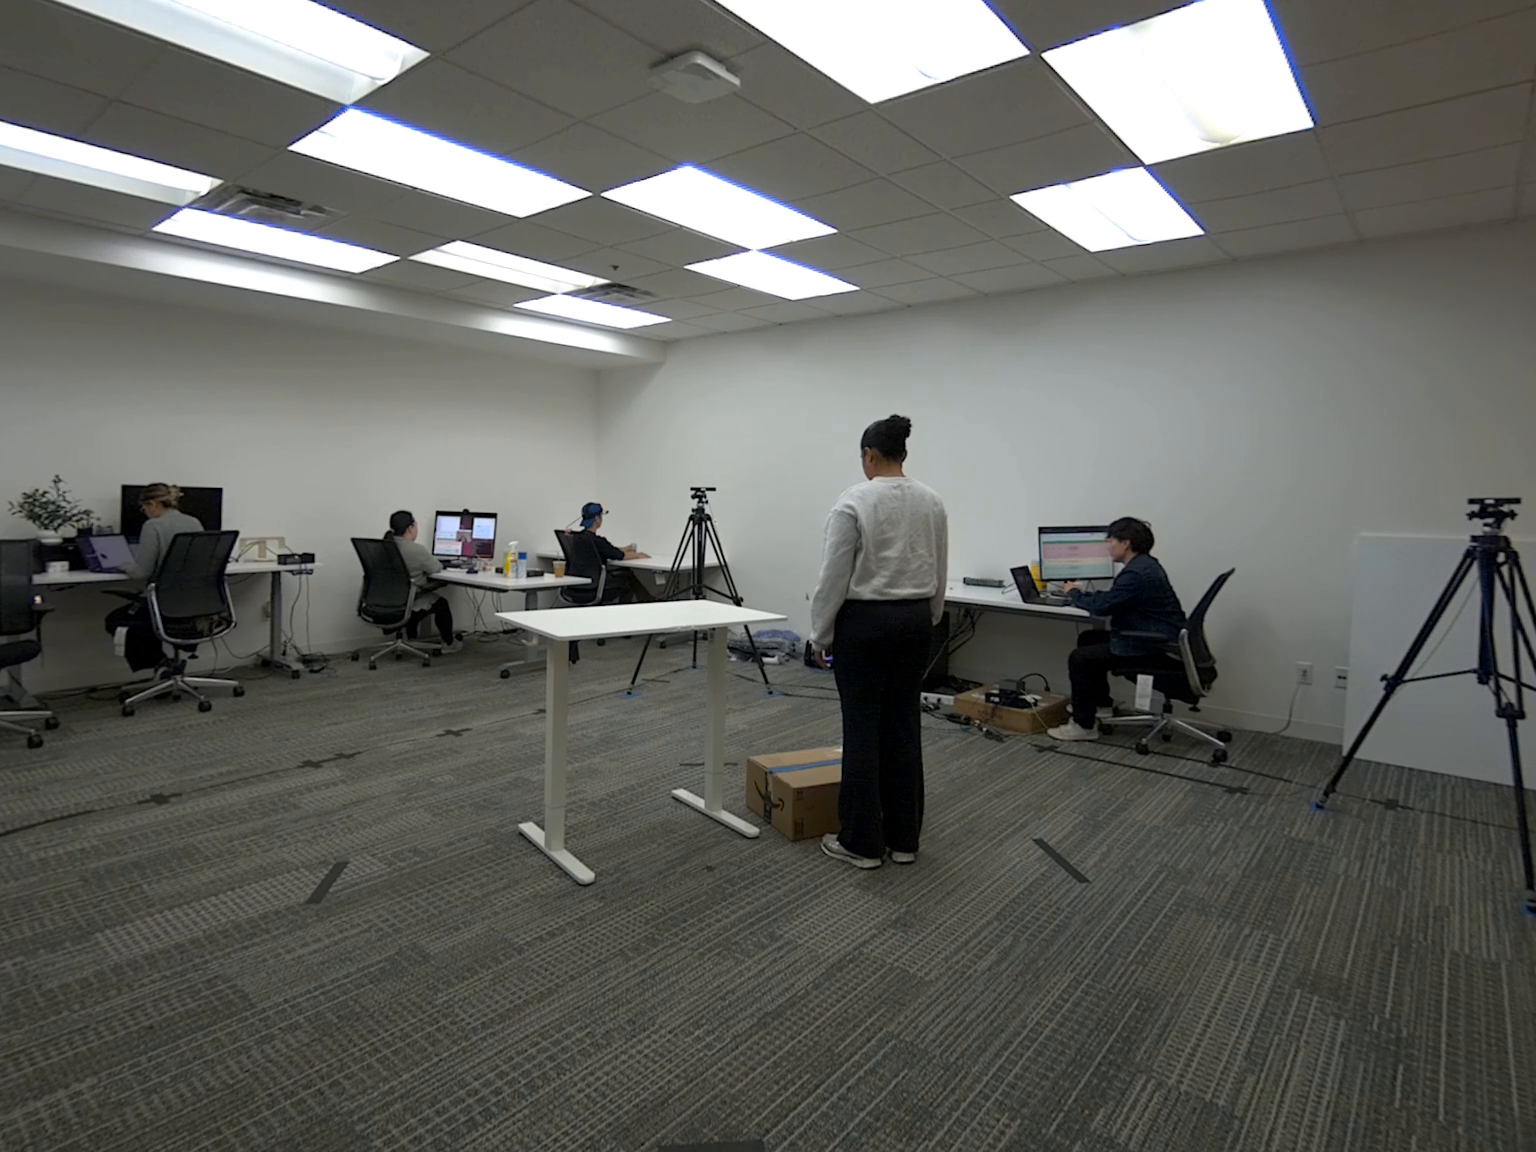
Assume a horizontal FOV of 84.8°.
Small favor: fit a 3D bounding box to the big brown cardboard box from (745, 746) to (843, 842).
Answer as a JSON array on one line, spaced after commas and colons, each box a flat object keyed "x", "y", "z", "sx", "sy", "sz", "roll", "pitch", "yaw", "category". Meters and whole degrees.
[{"x": 0.240, "y": 0.910, "z": 3.665, "sx": 0.575, "sy": 0.232, "sz": 0.430, "roll": -3, "pitch": 6, "yaw": -27, "category": "big brown cardboard box"}]
